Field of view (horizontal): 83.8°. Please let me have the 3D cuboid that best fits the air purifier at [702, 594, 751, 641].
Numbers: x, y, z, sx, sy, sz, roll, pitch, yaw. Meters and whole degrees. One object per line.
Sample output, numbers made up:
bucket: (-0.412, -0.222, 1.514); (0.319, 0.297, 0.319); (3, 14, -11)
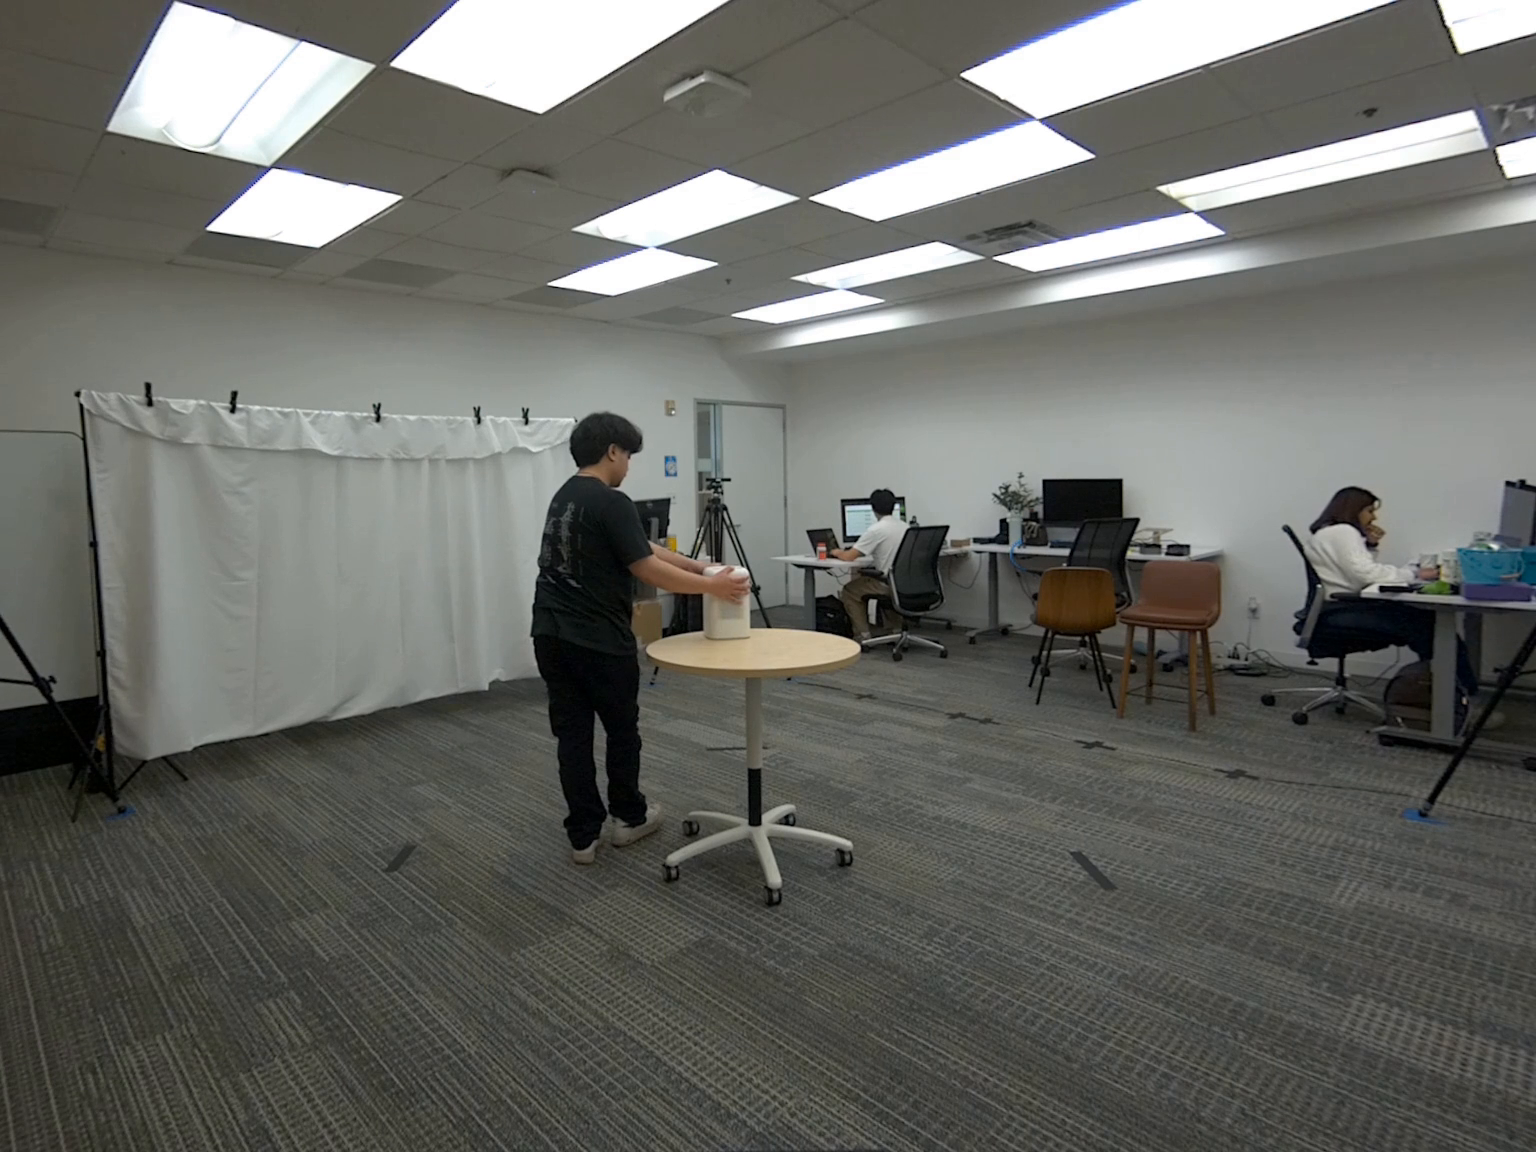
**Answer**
air purifier: (-0.159, 0.099, 3.286); (0.170, 0.265, 0.173); (0, 1, -11)
